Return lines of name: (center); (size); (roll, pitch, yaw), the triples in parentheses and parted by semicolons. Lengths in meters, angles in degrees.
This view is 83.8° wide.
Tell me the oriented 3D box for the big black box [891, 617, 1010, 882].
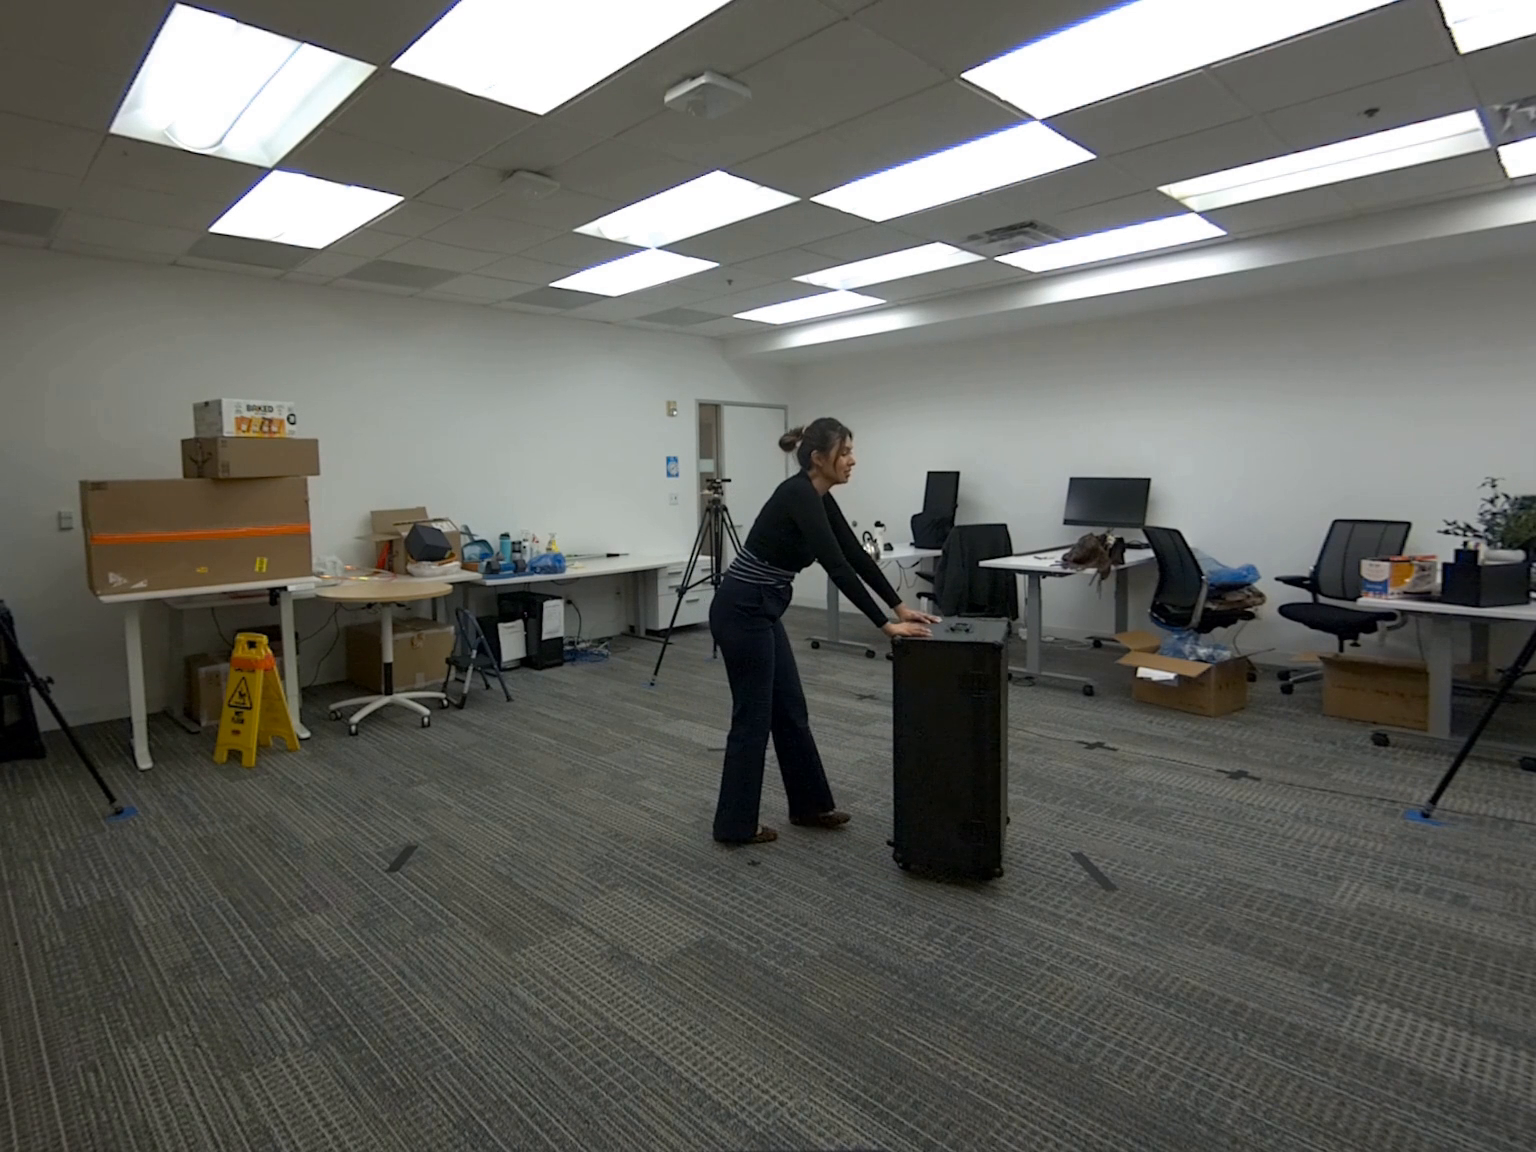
big black box: (0.661, 0.617, 3.067); (0.404, 0.858, 0.513); (-1, 4, 20)
